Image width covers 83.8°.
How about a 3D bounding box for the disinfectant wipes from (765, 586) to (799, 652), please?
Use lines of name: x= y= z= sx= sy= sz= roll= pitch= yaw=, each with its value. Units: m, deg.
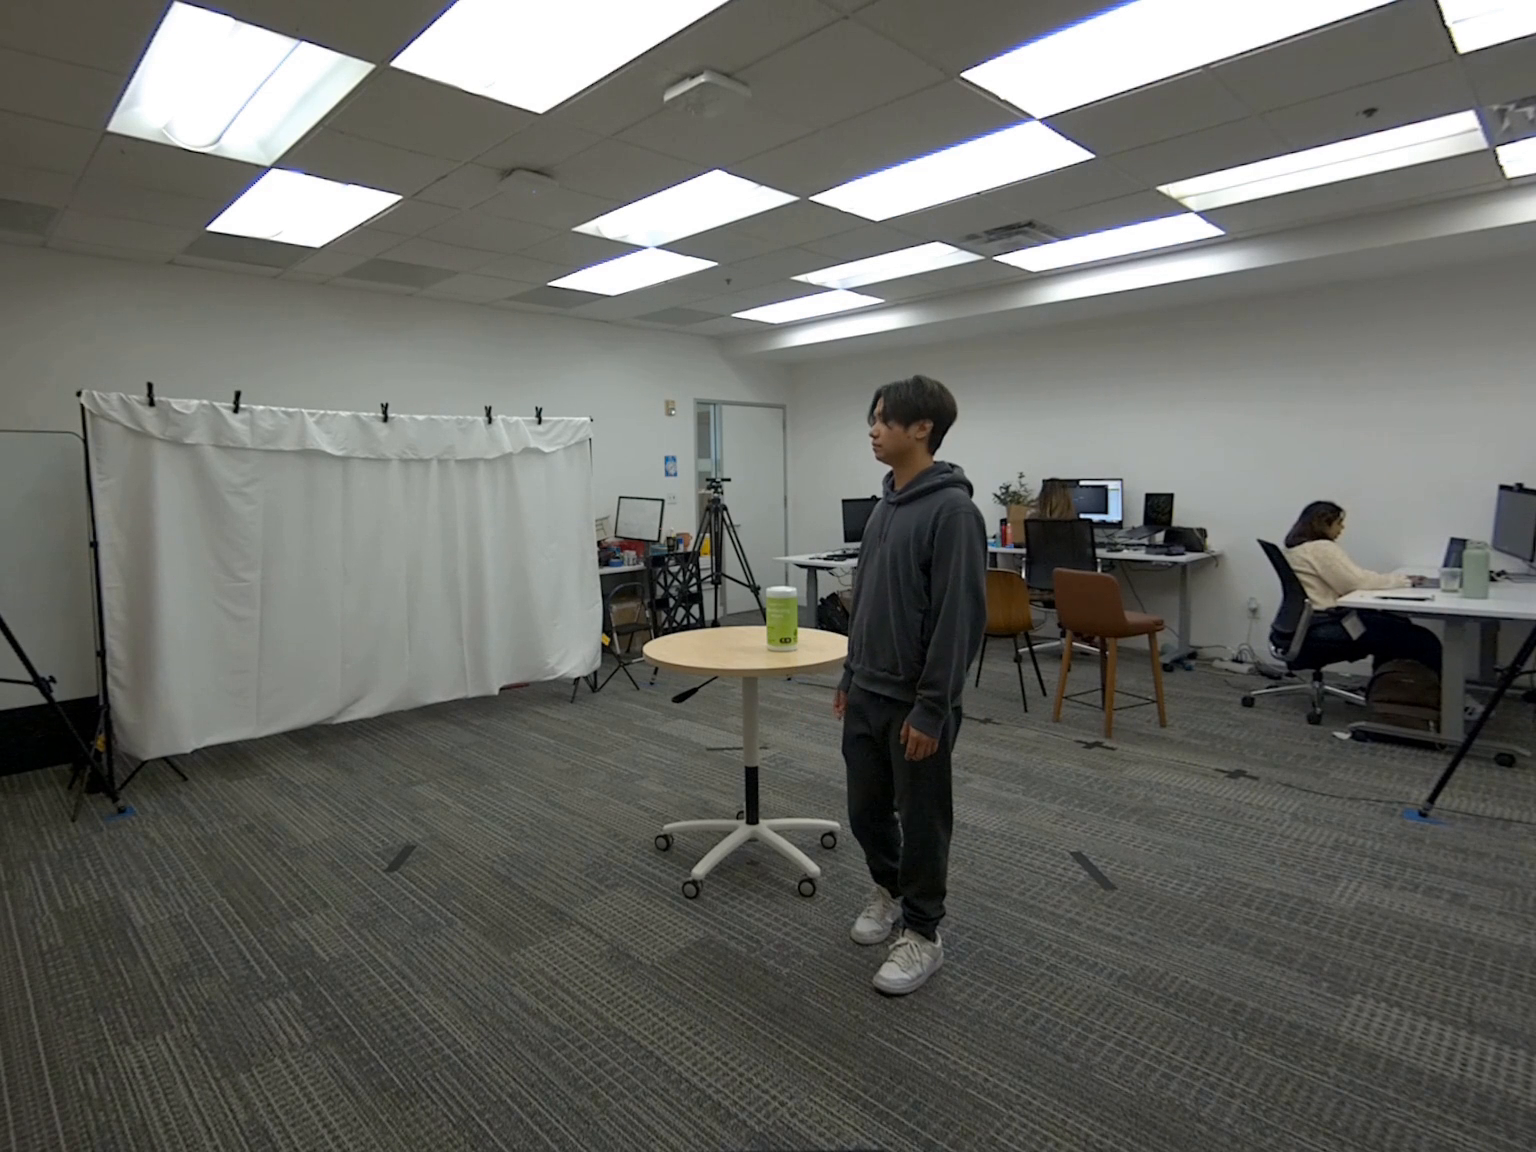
disinfectant wipes: x=0.050 y=0.151 z=2.992 sx=0.118 sy=0.216 sz=0.118 roll=0 pitch=5 yaw=-2
